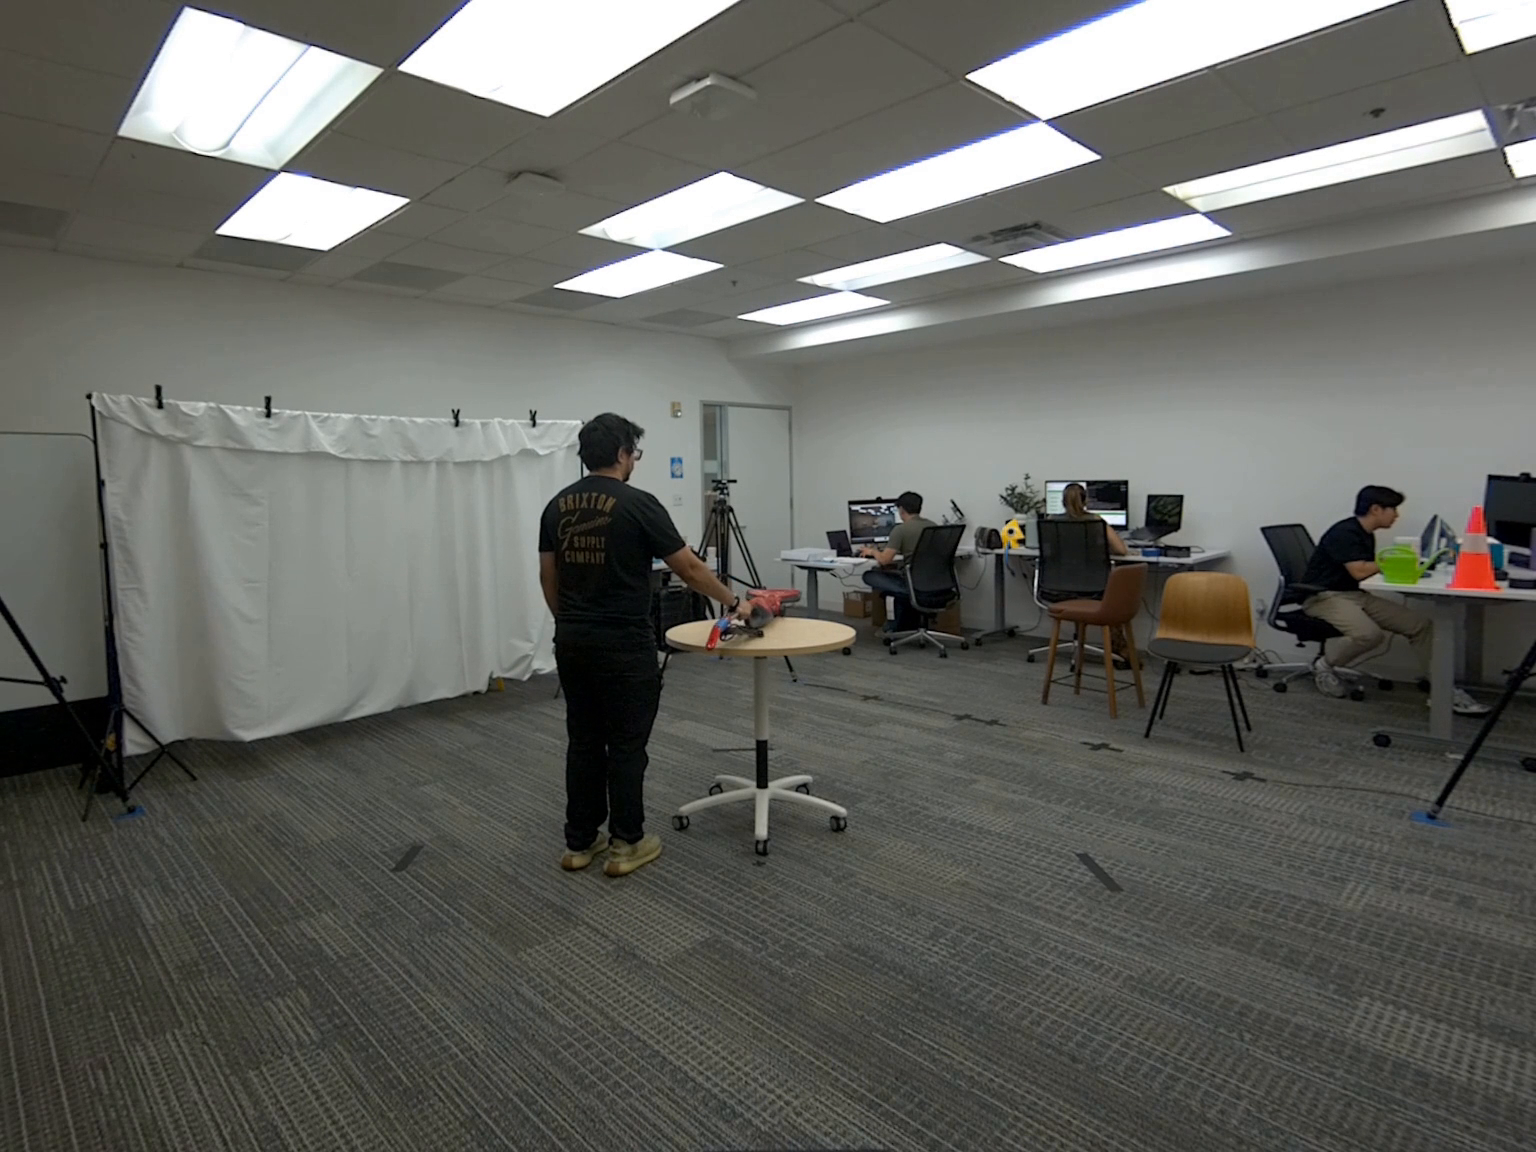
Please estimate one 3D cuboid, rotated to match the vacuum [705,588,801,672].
[{"bbox_3d":[-0.087,0.181,3.350,0.256,0.143,1.041,2,7,11],"label":"vacuum"}]
